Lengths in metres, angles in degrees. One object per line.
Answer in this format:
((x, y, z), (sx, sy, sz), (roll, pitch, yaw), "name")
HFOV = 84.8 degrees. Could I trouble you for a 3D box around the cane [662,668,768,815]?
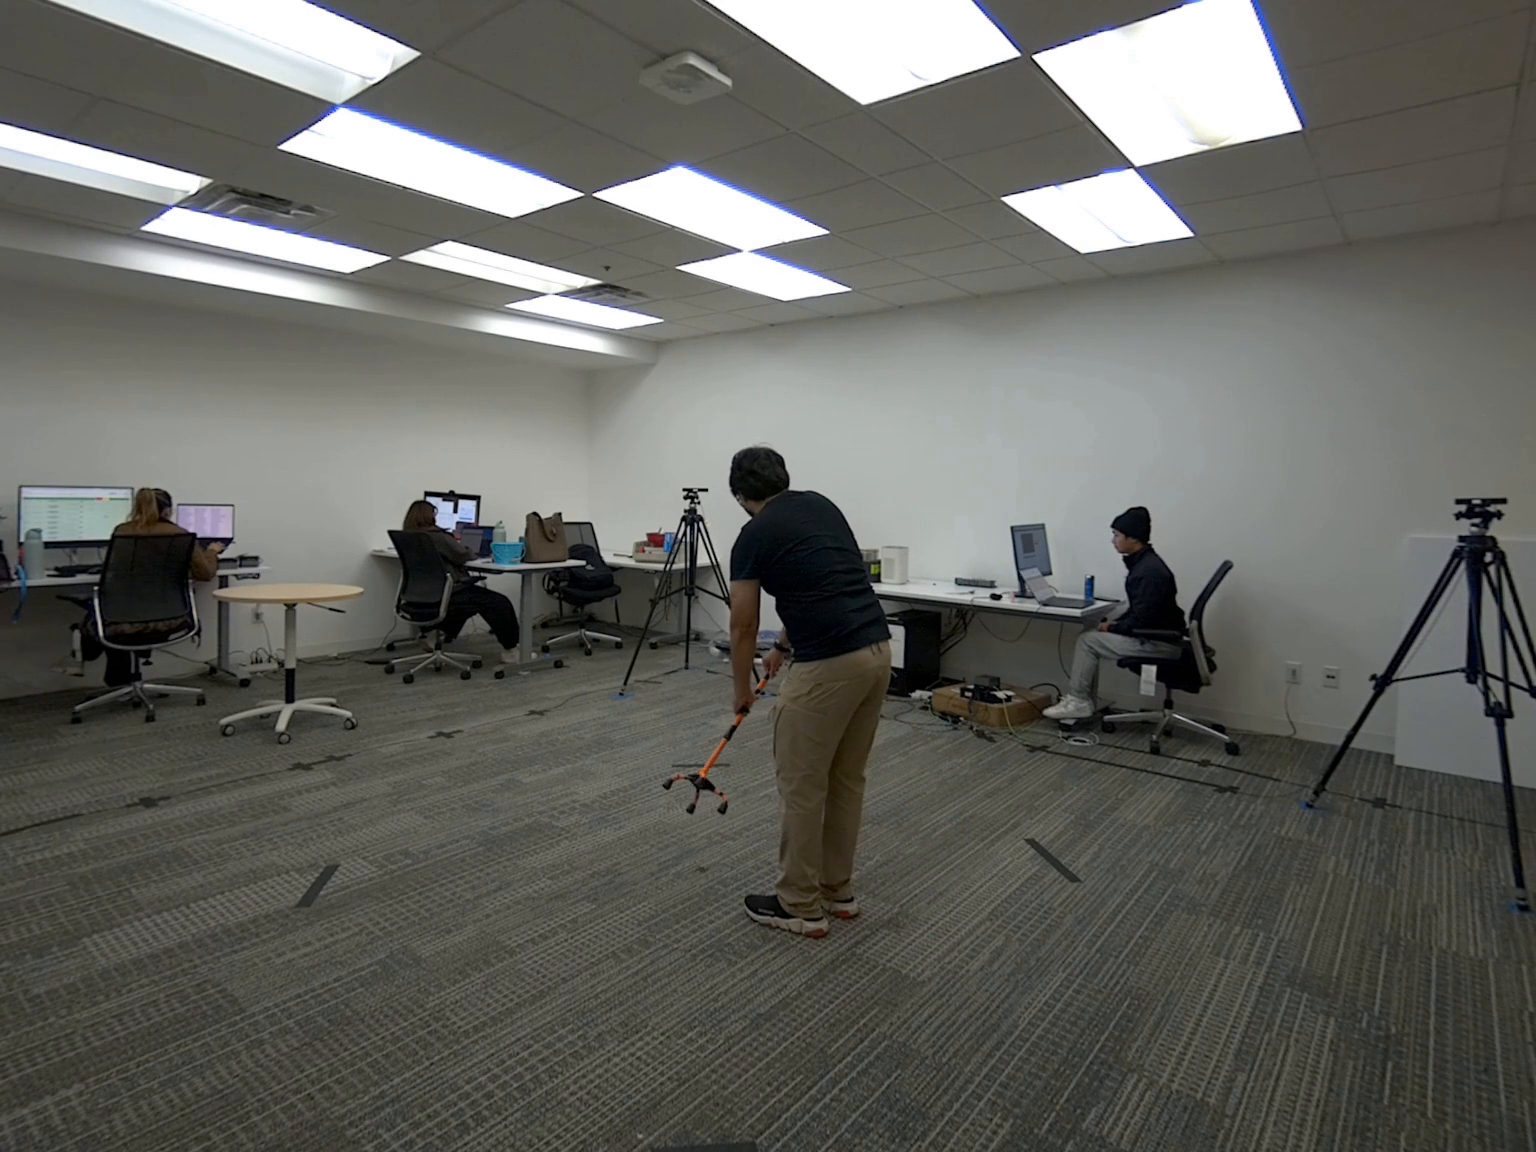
((-0.048, 0.436, 3.041), (0.210, 0.148, 0.911), (-19, 28, 47), "cane")
